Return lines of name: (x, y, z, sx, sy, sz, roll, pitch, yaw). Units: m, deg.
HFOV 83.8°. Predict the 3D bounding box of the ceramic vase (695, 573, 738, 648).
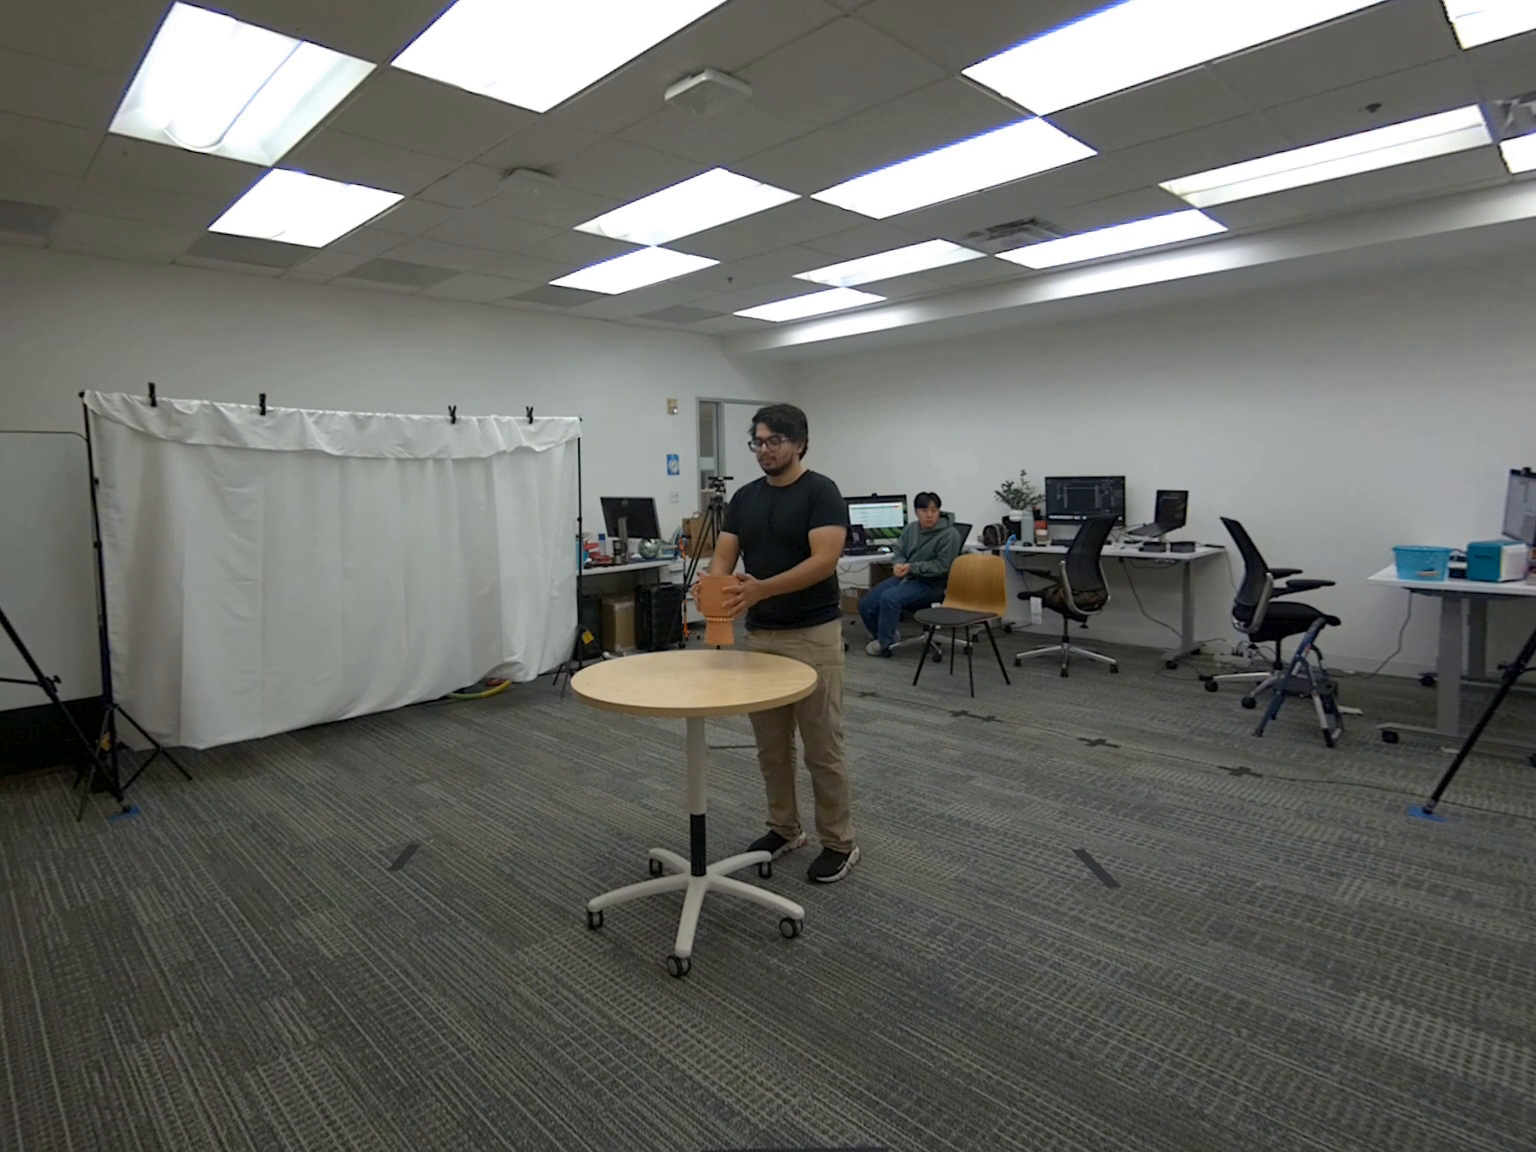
ceramic vase: (-0.151, 0.112, 2.760, 0.162, 0.220, 0.132, 2, 0, 18)
